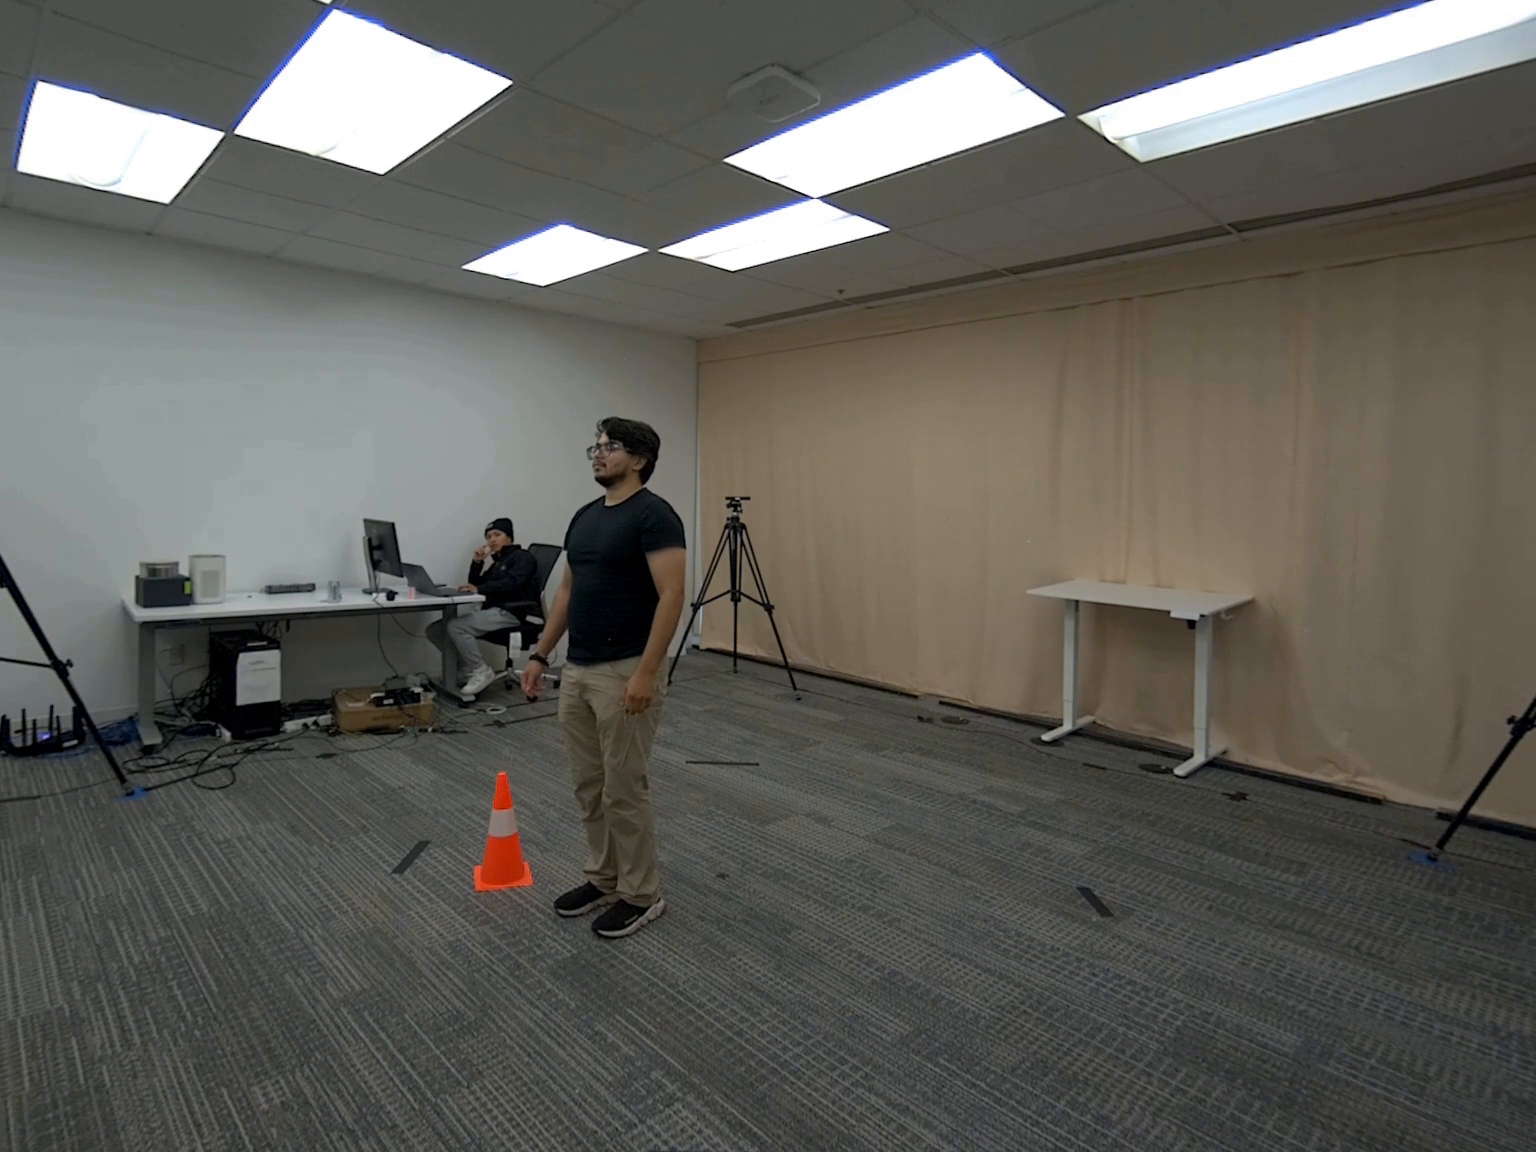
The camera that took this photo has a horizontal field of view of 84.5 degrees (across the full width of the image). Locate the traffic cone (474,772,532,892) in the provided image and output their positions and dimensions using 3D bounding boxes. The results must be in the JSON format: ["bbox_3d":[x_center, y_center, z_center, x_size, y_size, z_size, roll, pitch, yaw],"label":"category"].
[{"bbox_3d":[-0.974,0.911,3.055,0.200,0.383,0.209,1,3,-23],"label":"traffic cone"}]
